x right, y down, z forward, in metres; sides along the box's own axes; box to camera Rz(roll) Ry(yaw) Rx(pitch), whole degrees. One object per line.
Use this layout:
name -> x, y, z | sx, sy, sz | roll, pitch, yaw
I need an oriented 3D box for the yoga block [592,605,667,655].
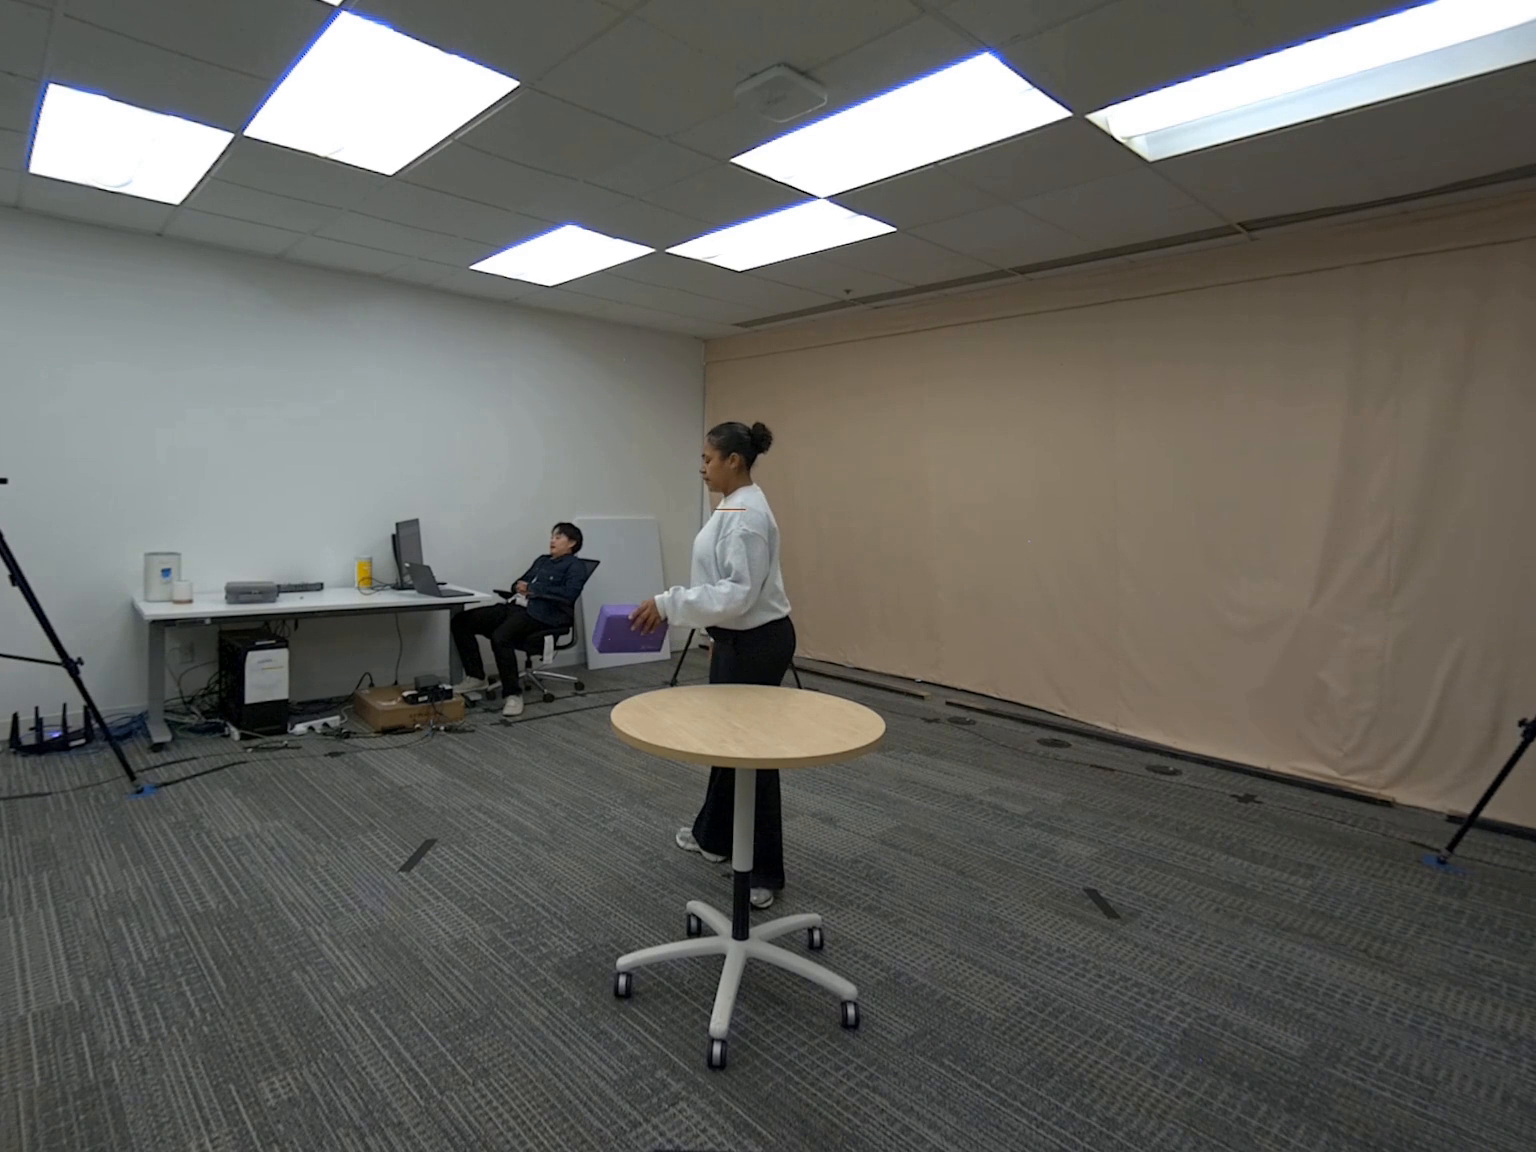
yoga block -> -0.445, 0.175, 2.756 | 0.224, 0.147, 0.079 | 3, 26, -33
